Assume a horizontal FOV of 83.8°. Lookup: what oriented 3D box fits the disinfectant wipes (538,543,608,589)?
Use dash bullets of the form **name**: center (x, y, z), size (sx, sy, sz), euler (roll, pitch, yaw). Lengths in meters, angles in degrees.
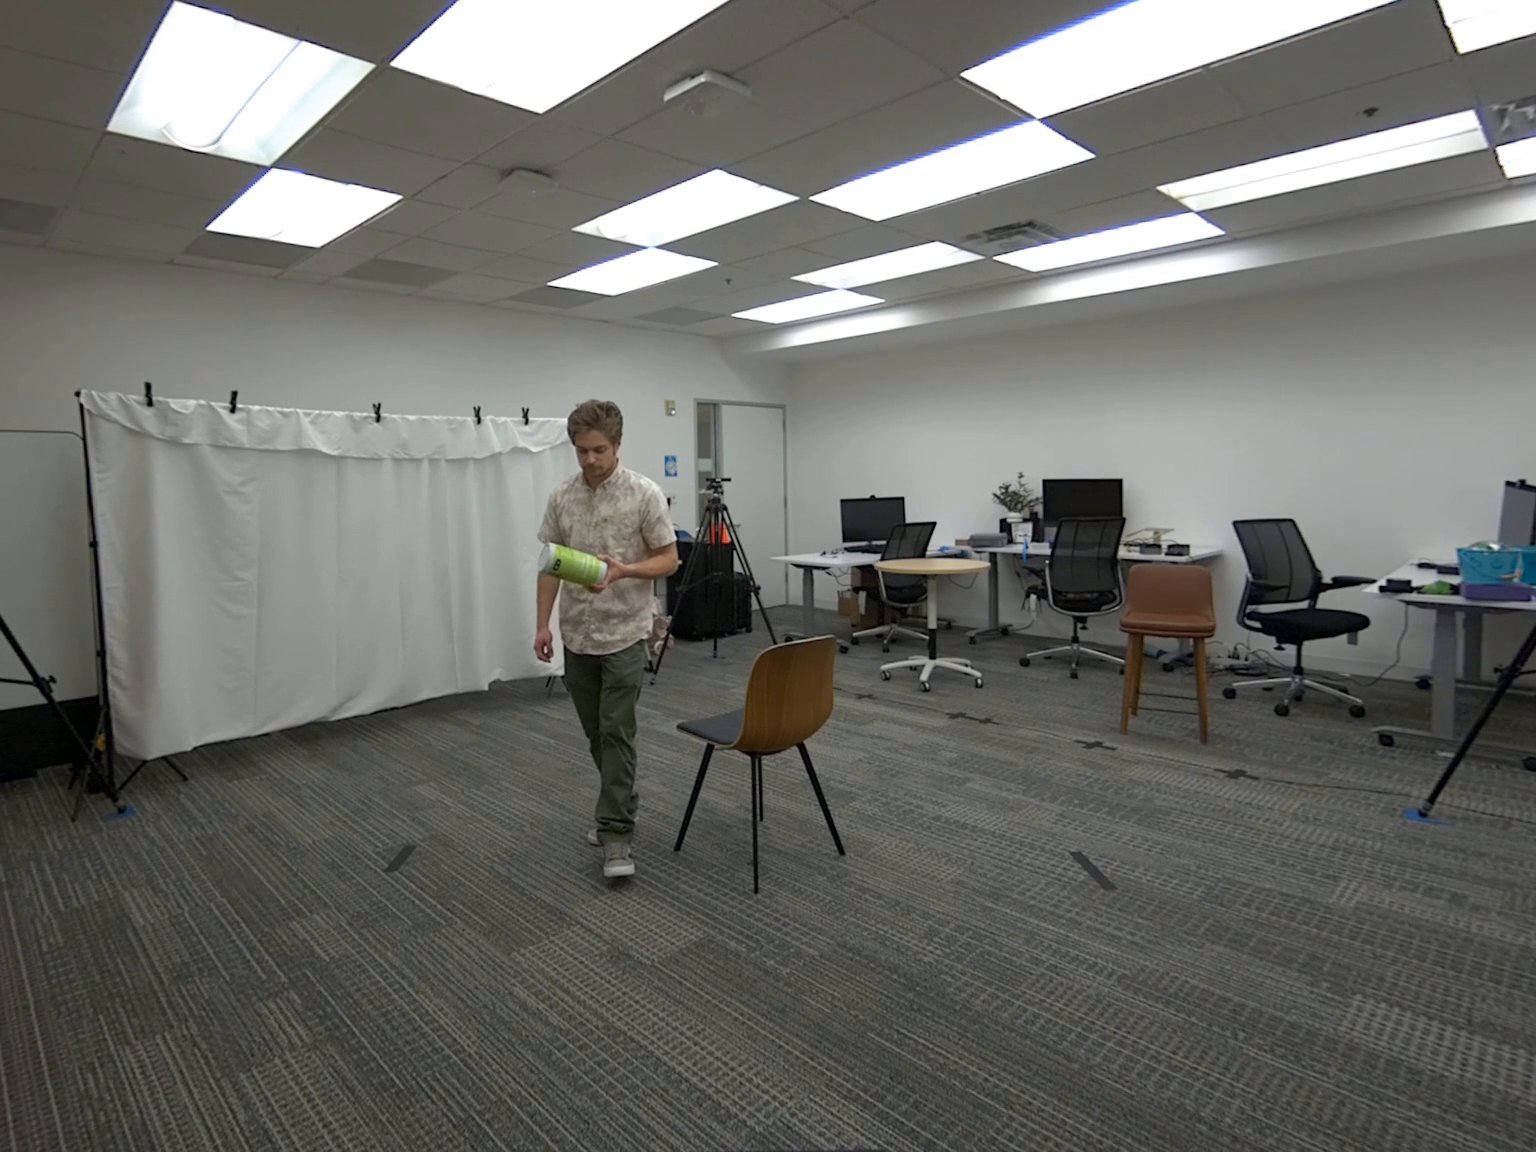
- **disinfectant wipes**: center (-0.677, -0.033, 2.932), size (0.211, 0.118, 0.121), euler (20, -6, -28)
